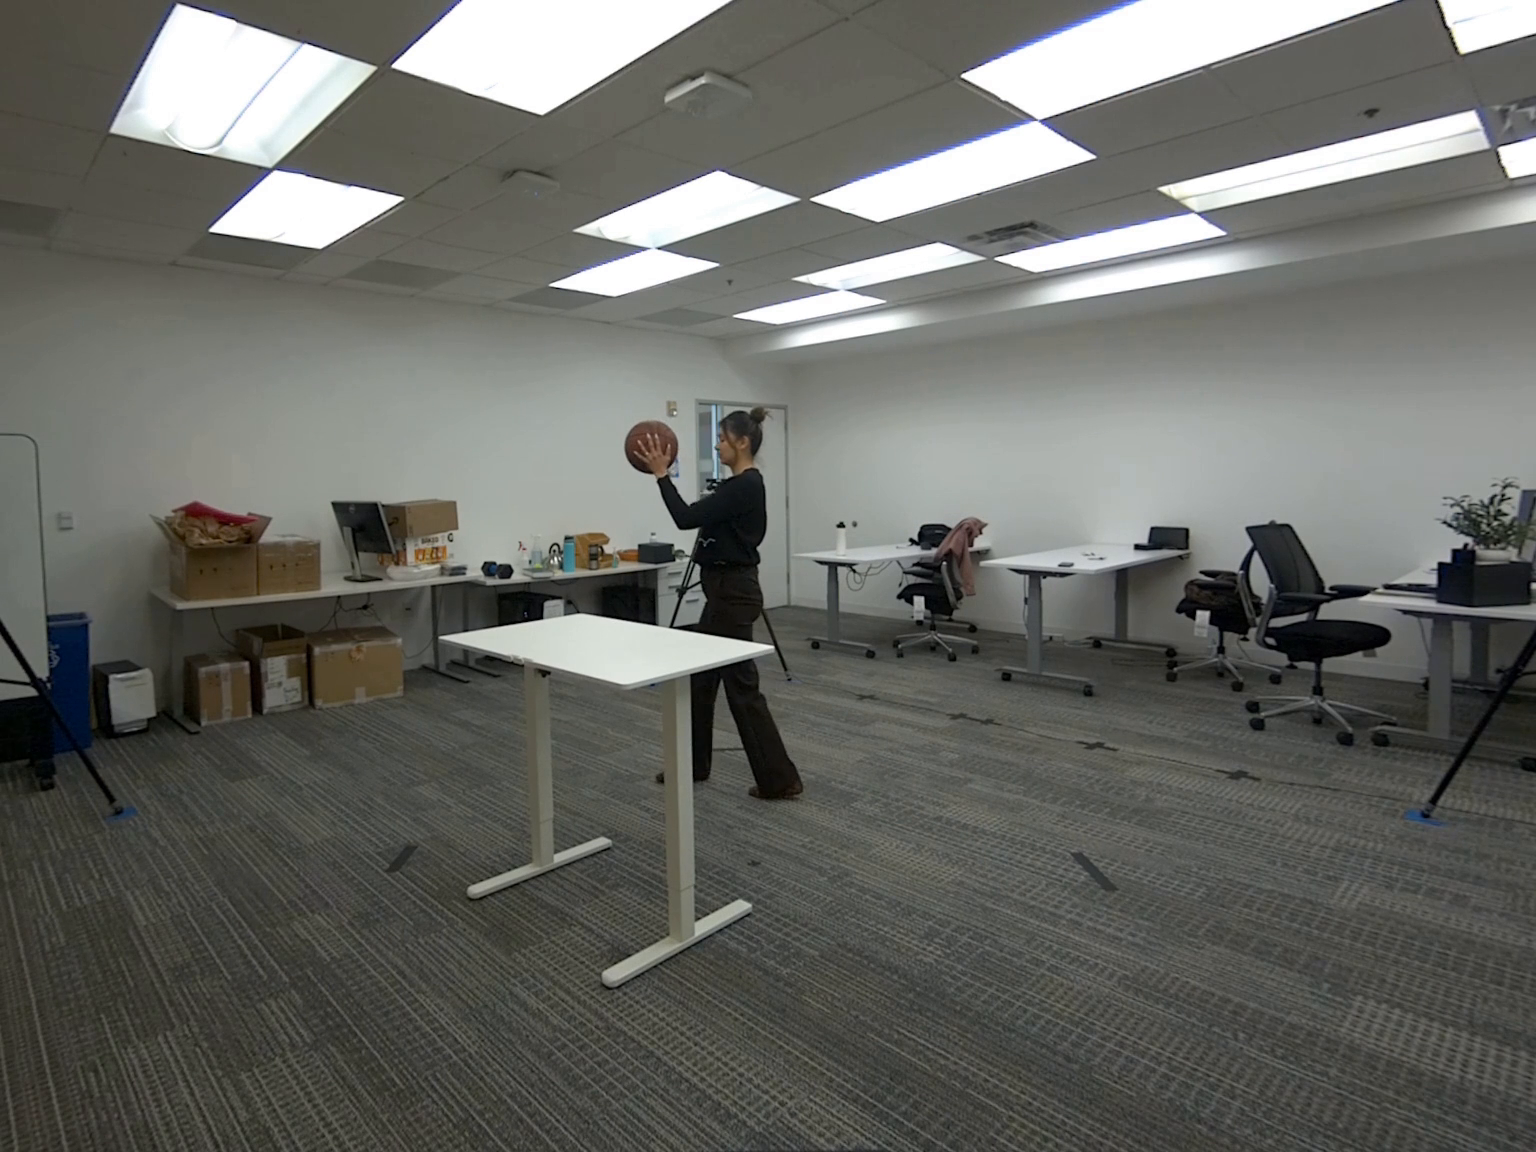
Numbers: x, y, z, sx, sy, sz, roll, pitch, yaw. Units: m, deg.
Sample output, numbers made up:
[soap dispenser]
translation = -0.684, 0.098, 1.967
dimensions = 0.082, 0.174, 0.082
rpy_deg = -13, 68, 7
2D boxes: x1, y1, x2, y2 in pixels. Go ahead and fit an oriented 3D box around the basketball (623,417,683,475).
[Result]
[basketball]
translation = -0.502, -0.567, 3.743
dimensions = 0.236, 0.235, 0.237
rpy_deg = -1, 5, -2
